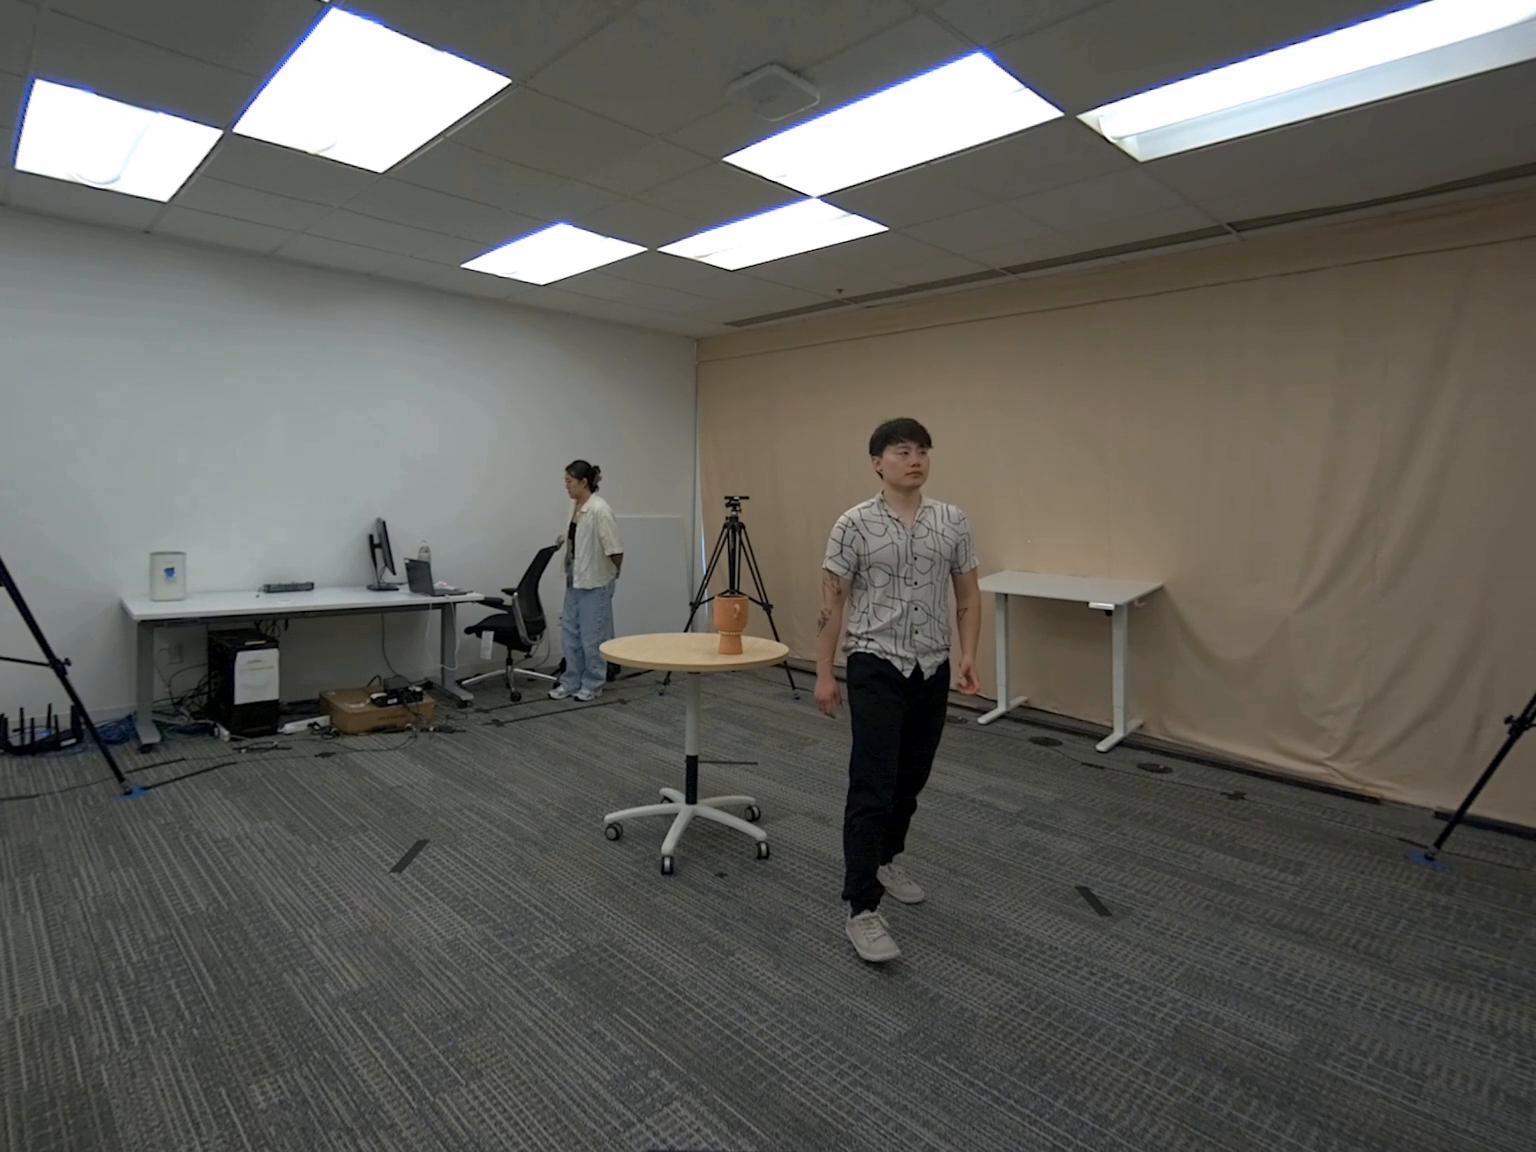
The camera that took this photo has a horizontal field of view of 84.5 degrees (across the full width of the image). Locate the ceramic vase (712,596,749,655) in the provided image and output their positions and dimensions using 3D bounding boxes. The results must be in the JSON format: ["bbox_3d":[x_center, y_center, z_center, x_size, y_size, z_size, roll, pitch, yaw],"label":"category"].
[{"bbox_3d":[-0.149,0.192,3.293,0.137,0.219,0.156,3,4,21],"label":"ceramic vase"}]
